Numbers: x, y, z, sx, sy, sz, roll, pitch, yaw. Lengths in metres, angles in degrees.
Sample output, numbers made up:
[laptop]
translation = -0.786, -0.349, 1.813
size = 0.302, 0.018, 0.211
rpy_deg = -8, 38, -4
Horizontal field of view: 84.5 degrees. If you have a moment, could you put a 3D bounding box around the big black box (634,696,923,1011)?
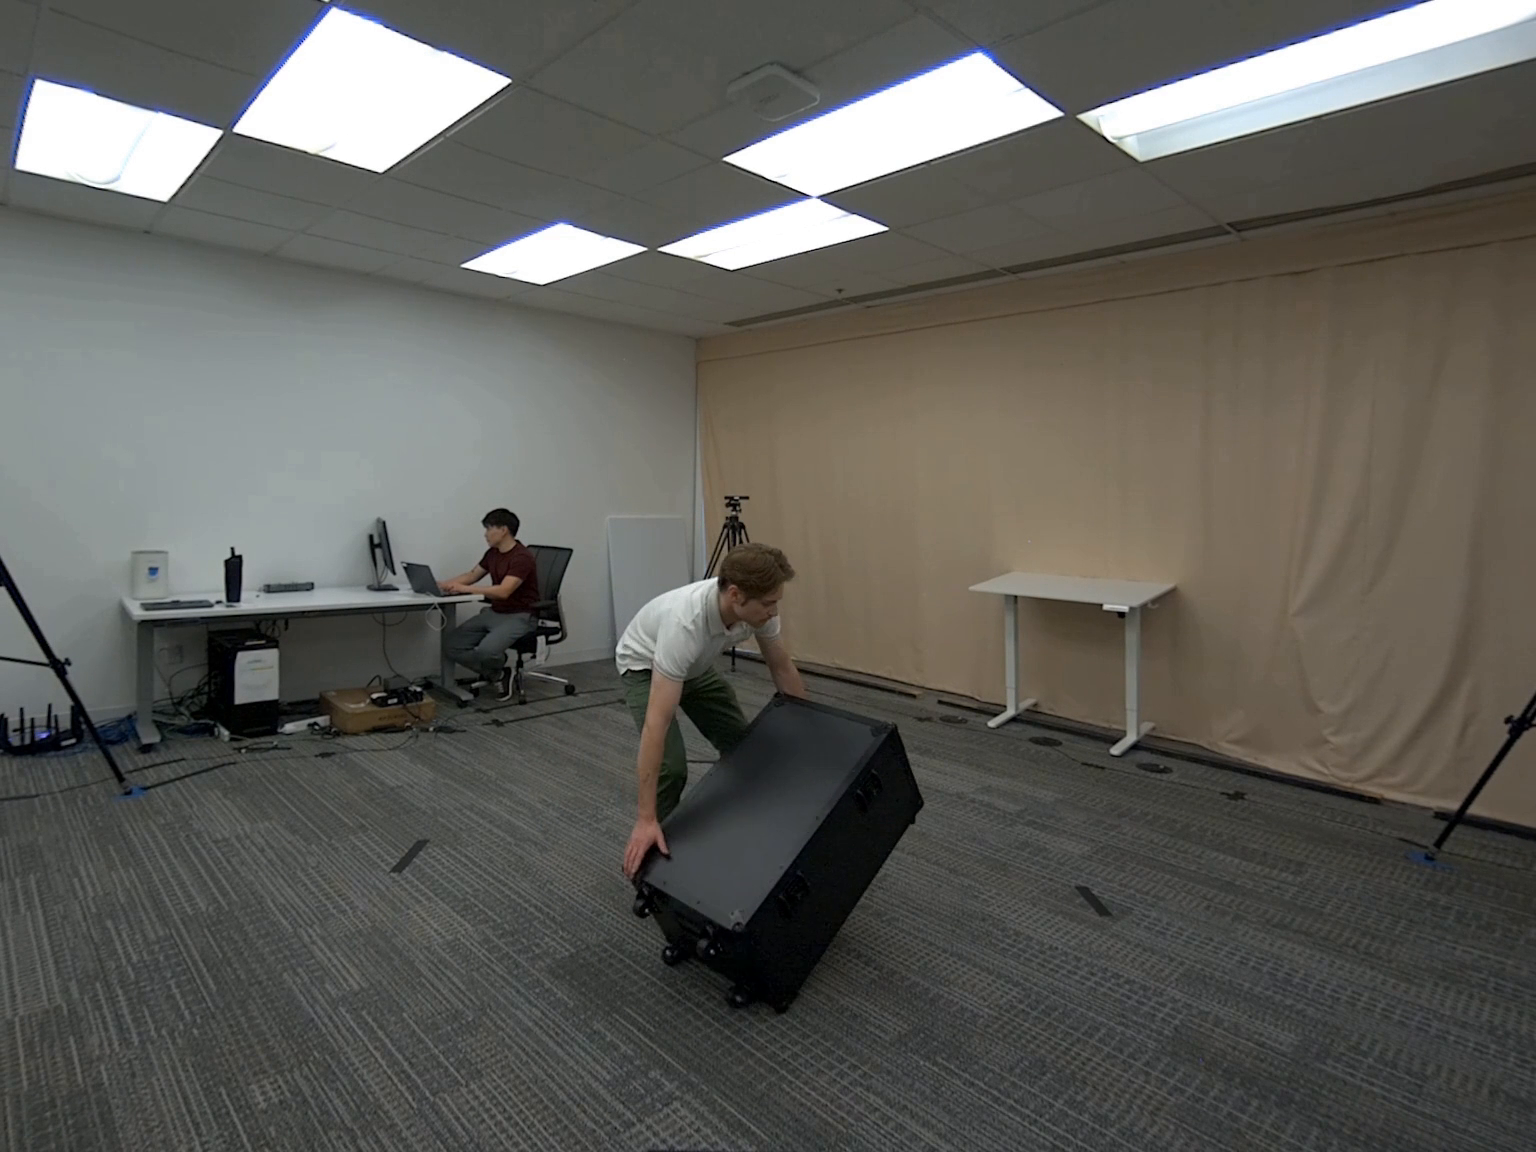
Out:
[big black box]
translation = 0.012, 0.810, 2.565
size = 0.537, 0.376, 0.866
rpy_deg = 8, 42, 44
